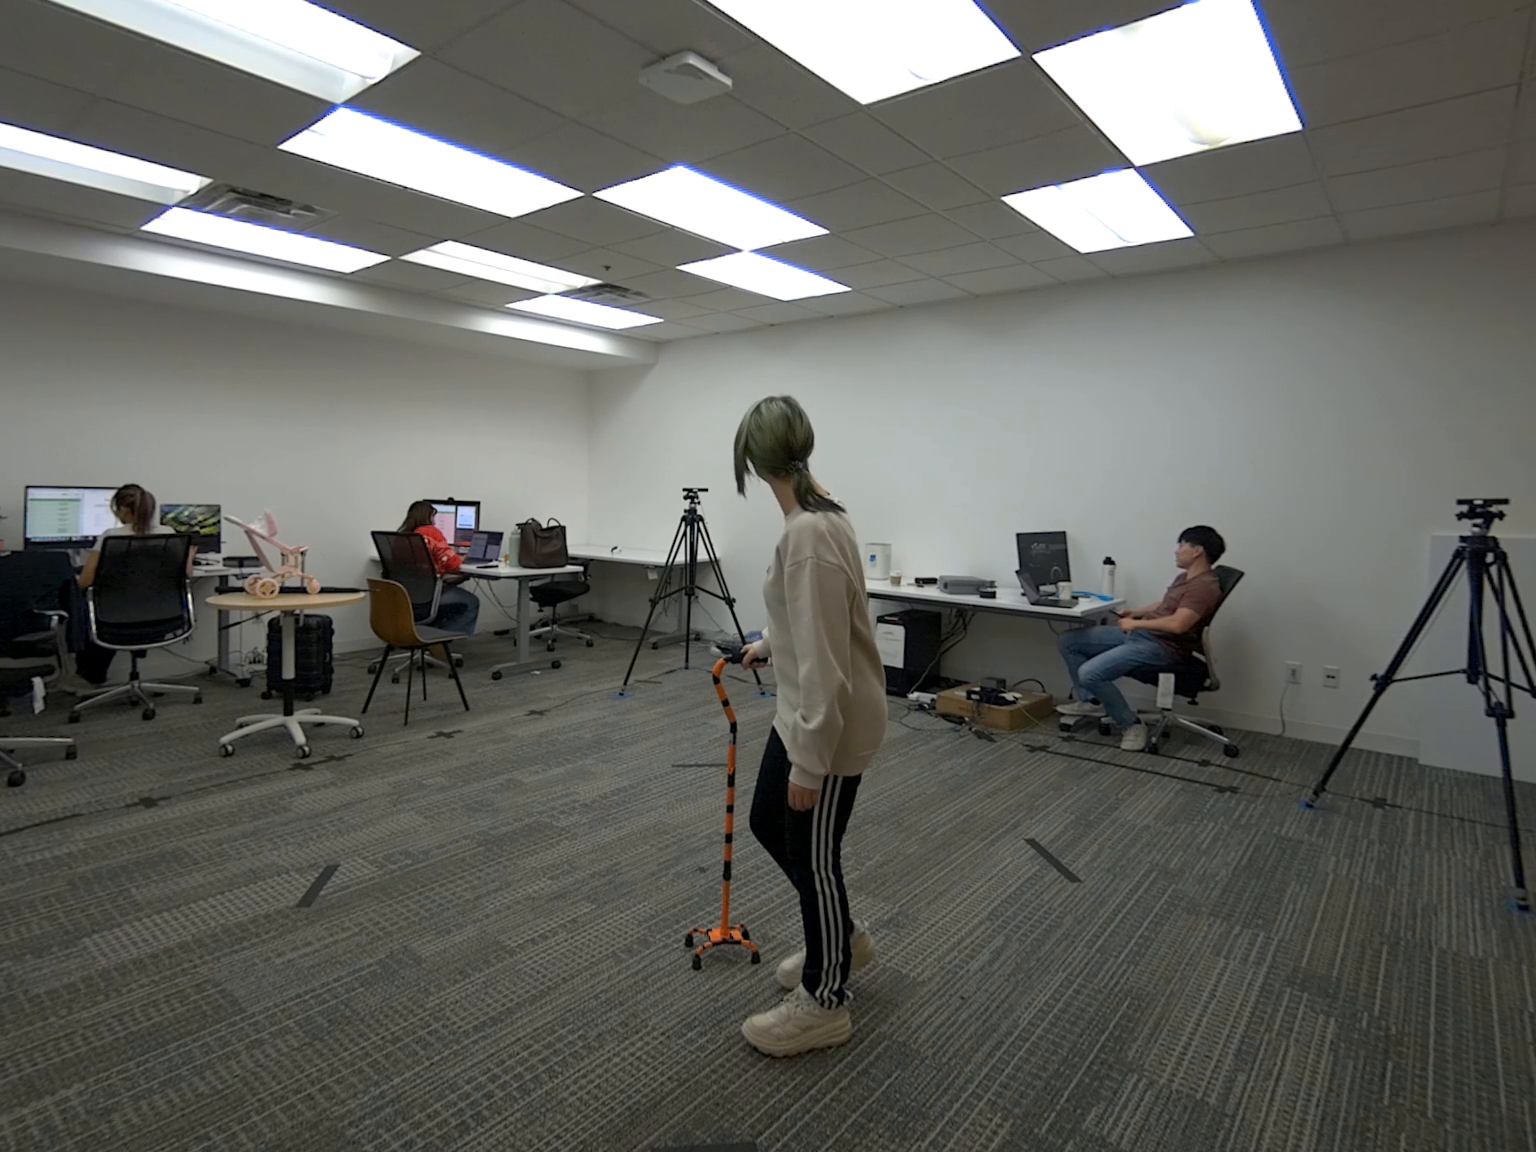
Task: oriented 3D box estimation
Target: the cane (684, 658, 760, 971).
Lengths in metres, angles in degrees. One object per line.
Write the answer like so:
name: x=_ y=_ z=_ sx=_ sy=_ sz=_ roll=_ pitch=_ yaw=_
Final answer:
cane: x=-0.132 y=0.670 z=2.516 sx=0.203 sy=0.905 sz=0.154 roll=1 pitch=3 yaw=-16
